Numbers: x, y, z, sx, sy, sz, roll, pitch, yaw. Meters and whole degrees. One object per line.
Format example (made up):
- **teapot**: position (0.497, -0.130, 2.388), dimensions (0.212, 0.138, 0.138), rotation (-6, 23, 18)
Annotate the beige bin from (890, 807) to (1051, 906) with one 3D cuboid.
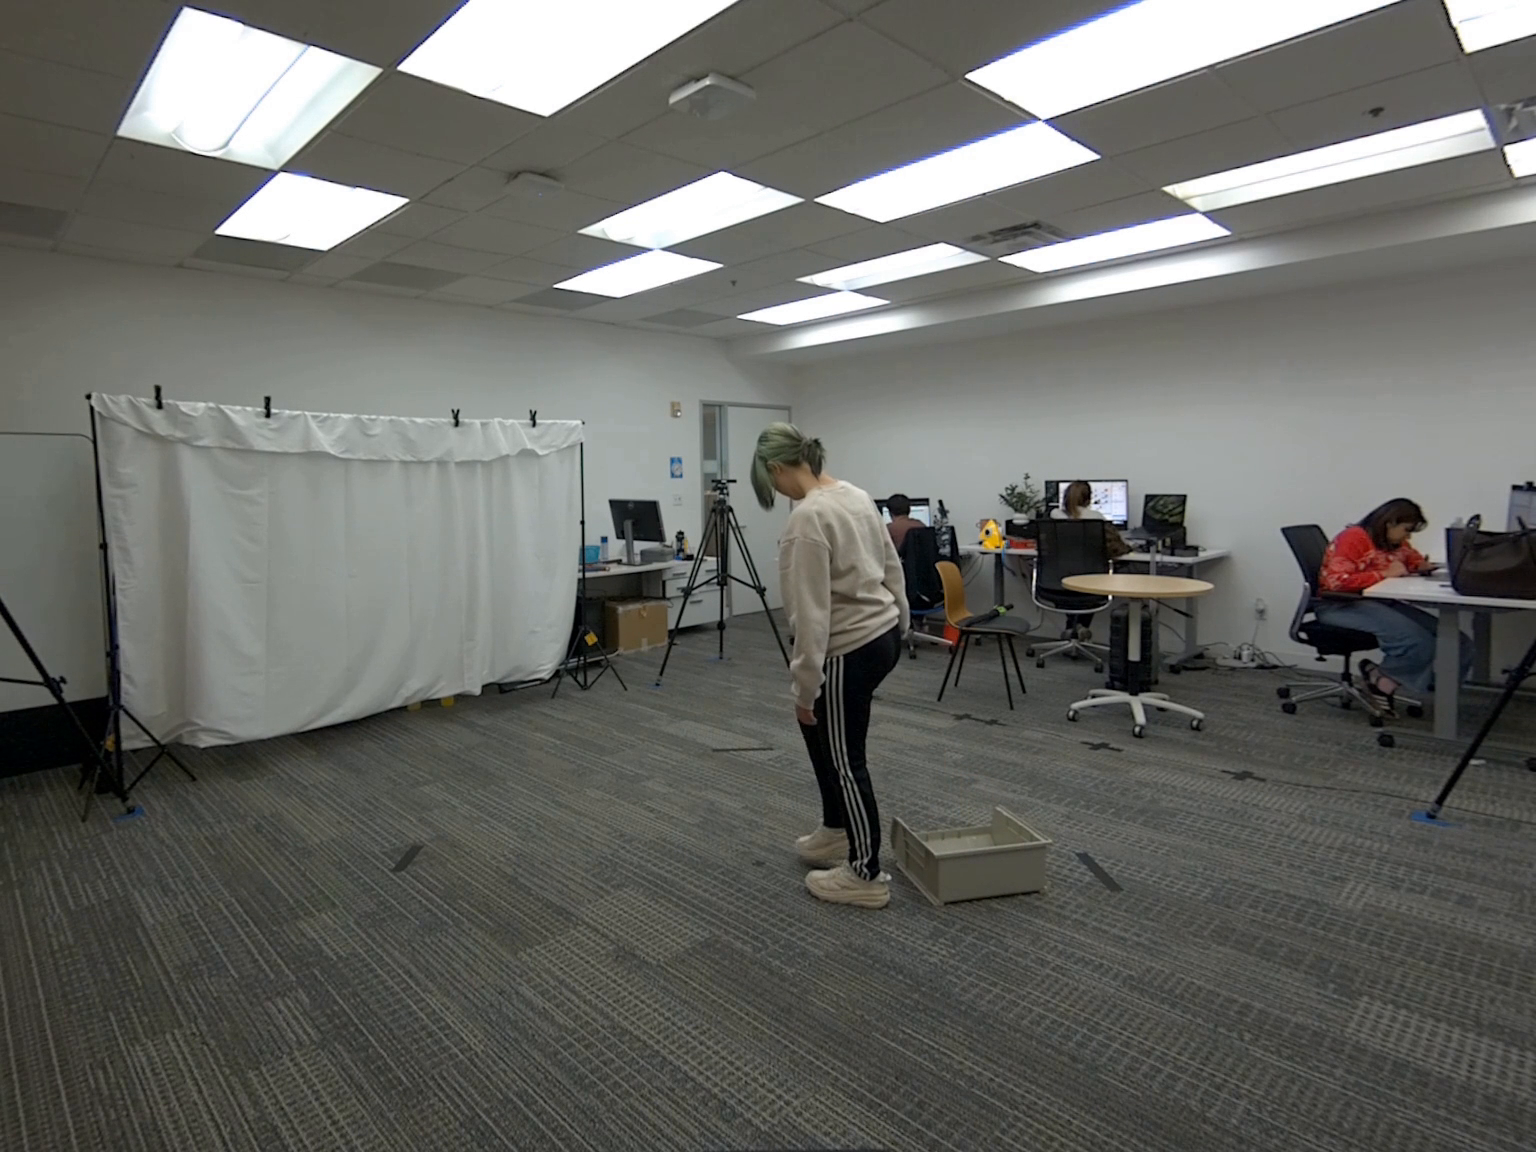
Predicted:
- **beige bin**: position (0.690, 0.956, 2.978), dimensions (0.417, 0.188, 0.384), rotation (-2, 6, -13)
